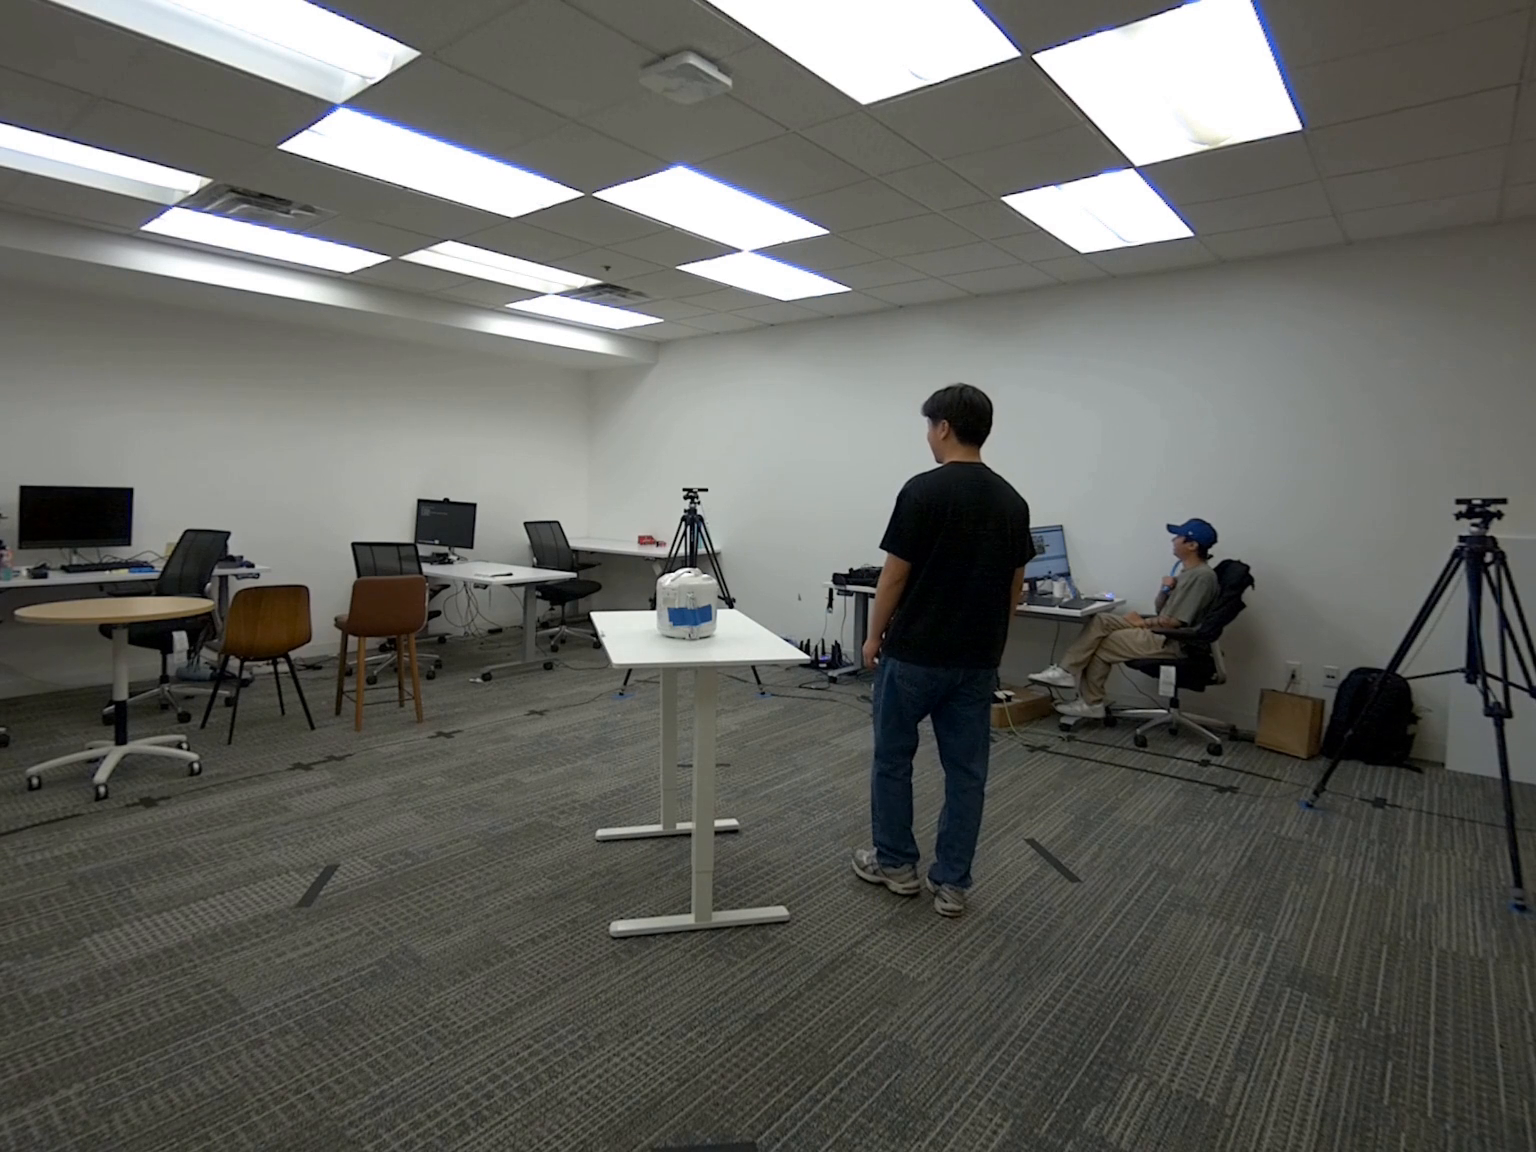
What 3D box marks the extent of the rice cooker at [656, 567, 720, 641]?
[{"bbox_3d":[-0.292,0.087,2.938,0.224,0.232,0.215,6,6,31],"label":"rice cooker"}]
